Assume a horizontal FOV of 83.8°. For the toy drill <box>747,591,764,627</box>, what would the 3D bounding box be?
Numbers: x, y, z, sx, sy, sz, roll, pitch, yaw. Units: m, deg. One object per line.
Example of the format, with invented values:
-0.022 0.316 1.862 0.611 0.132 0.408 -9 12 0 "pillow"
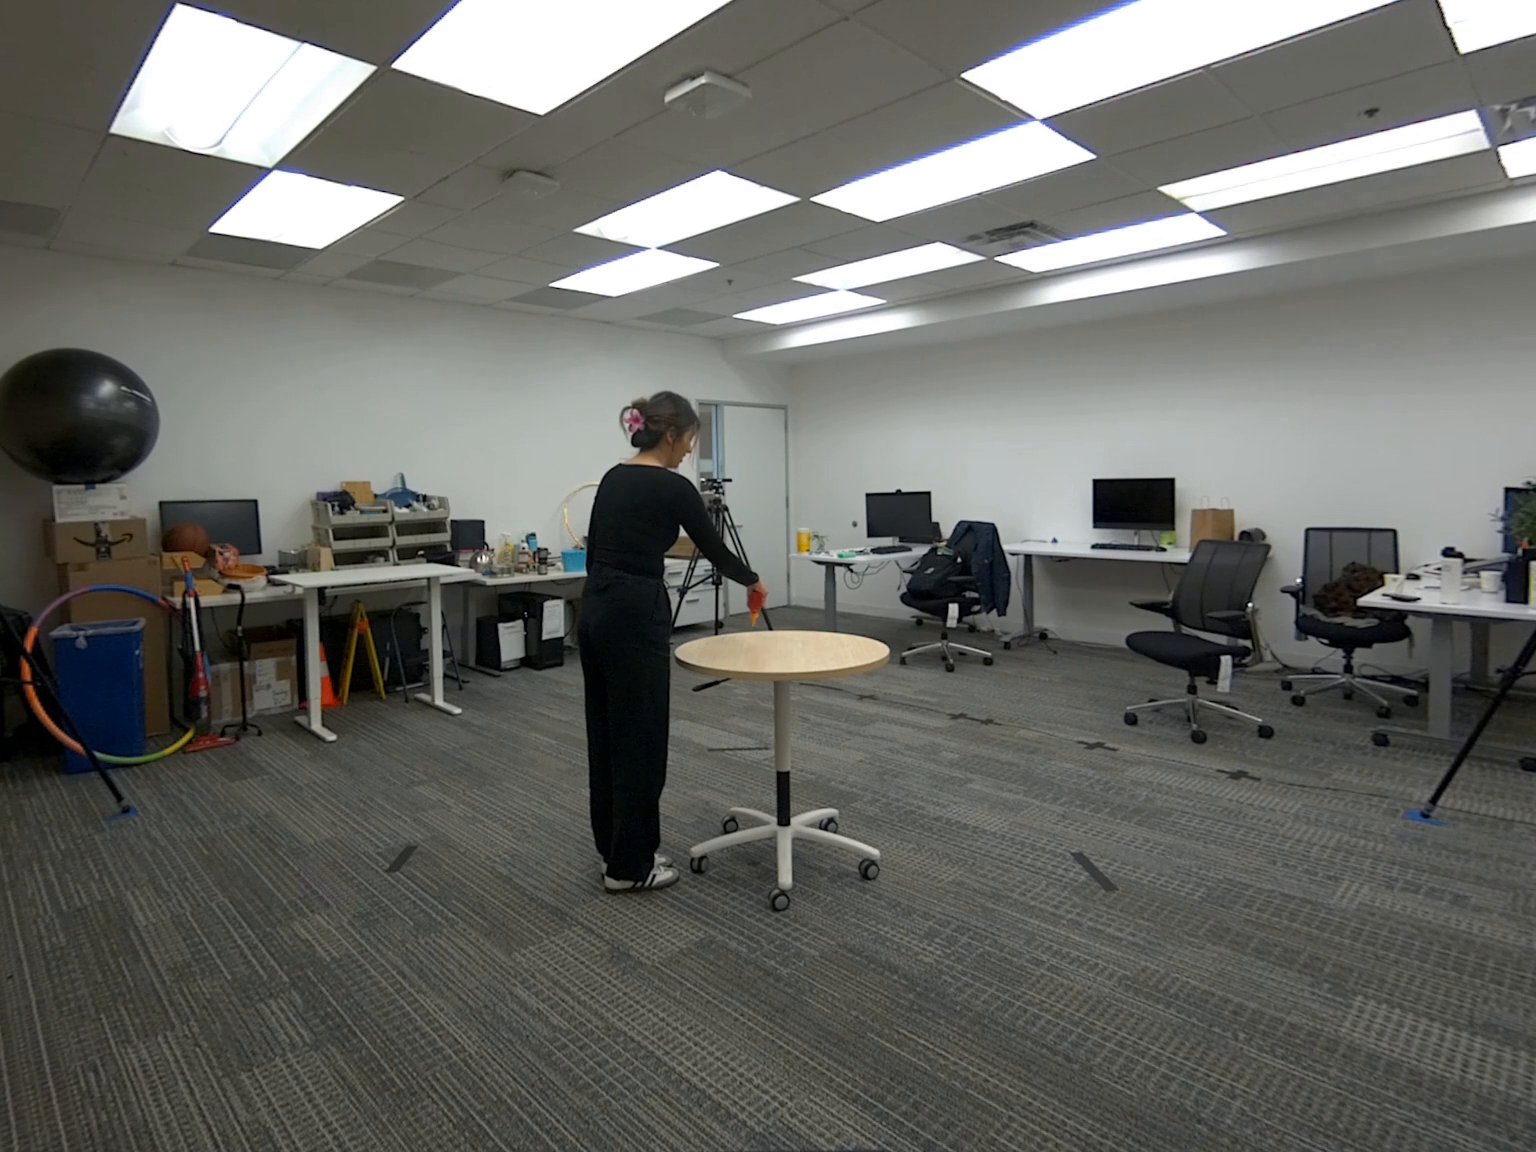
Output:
-0.036 0.120 3.235 0.061 0.168 0.146 6 9 3 "toy drill"
